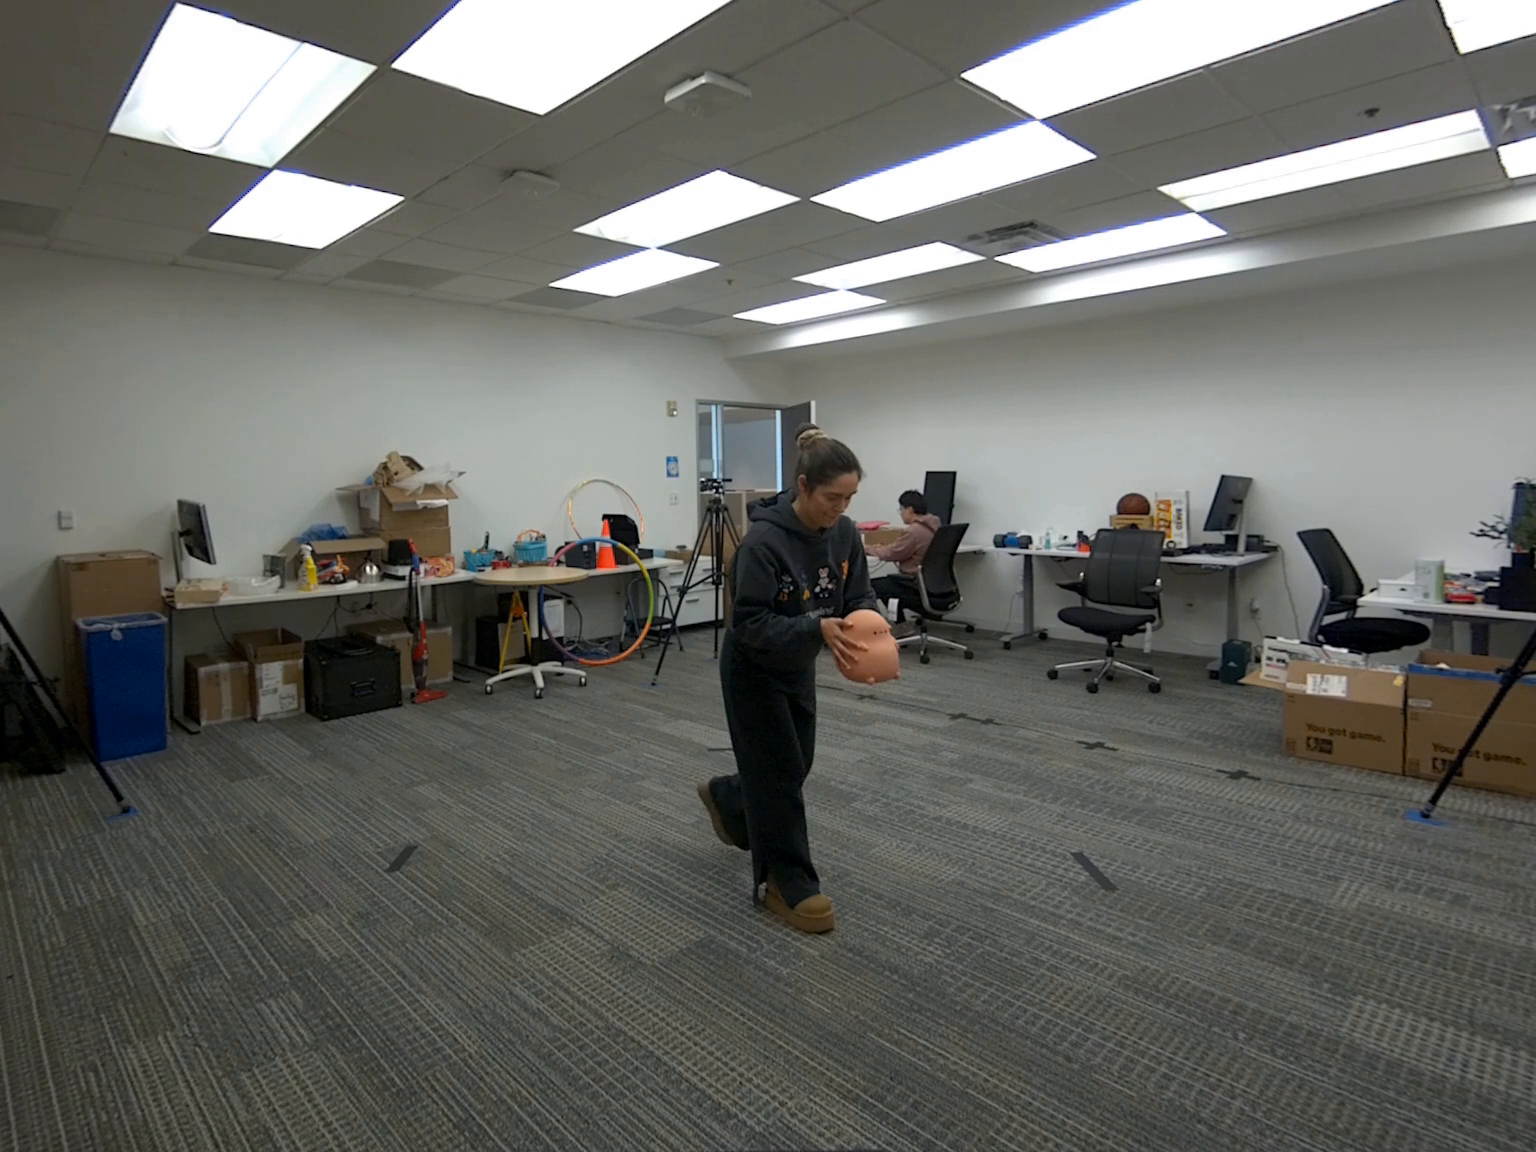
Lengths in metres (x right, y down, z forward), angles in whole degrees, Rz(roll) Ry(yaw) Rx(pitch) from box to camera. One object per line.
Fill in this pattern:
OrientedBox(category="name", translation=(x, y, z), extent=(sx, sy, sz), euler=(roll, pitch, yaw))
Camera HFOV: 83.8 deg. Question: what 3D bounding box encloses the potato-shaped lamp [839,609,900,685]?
OrientedBox(category="potato-shaped lamp", translation=(0.267, 0.196, 2.372), extent=(0.160, 0.198, 0.176), euler=(-4, 2, -34))
